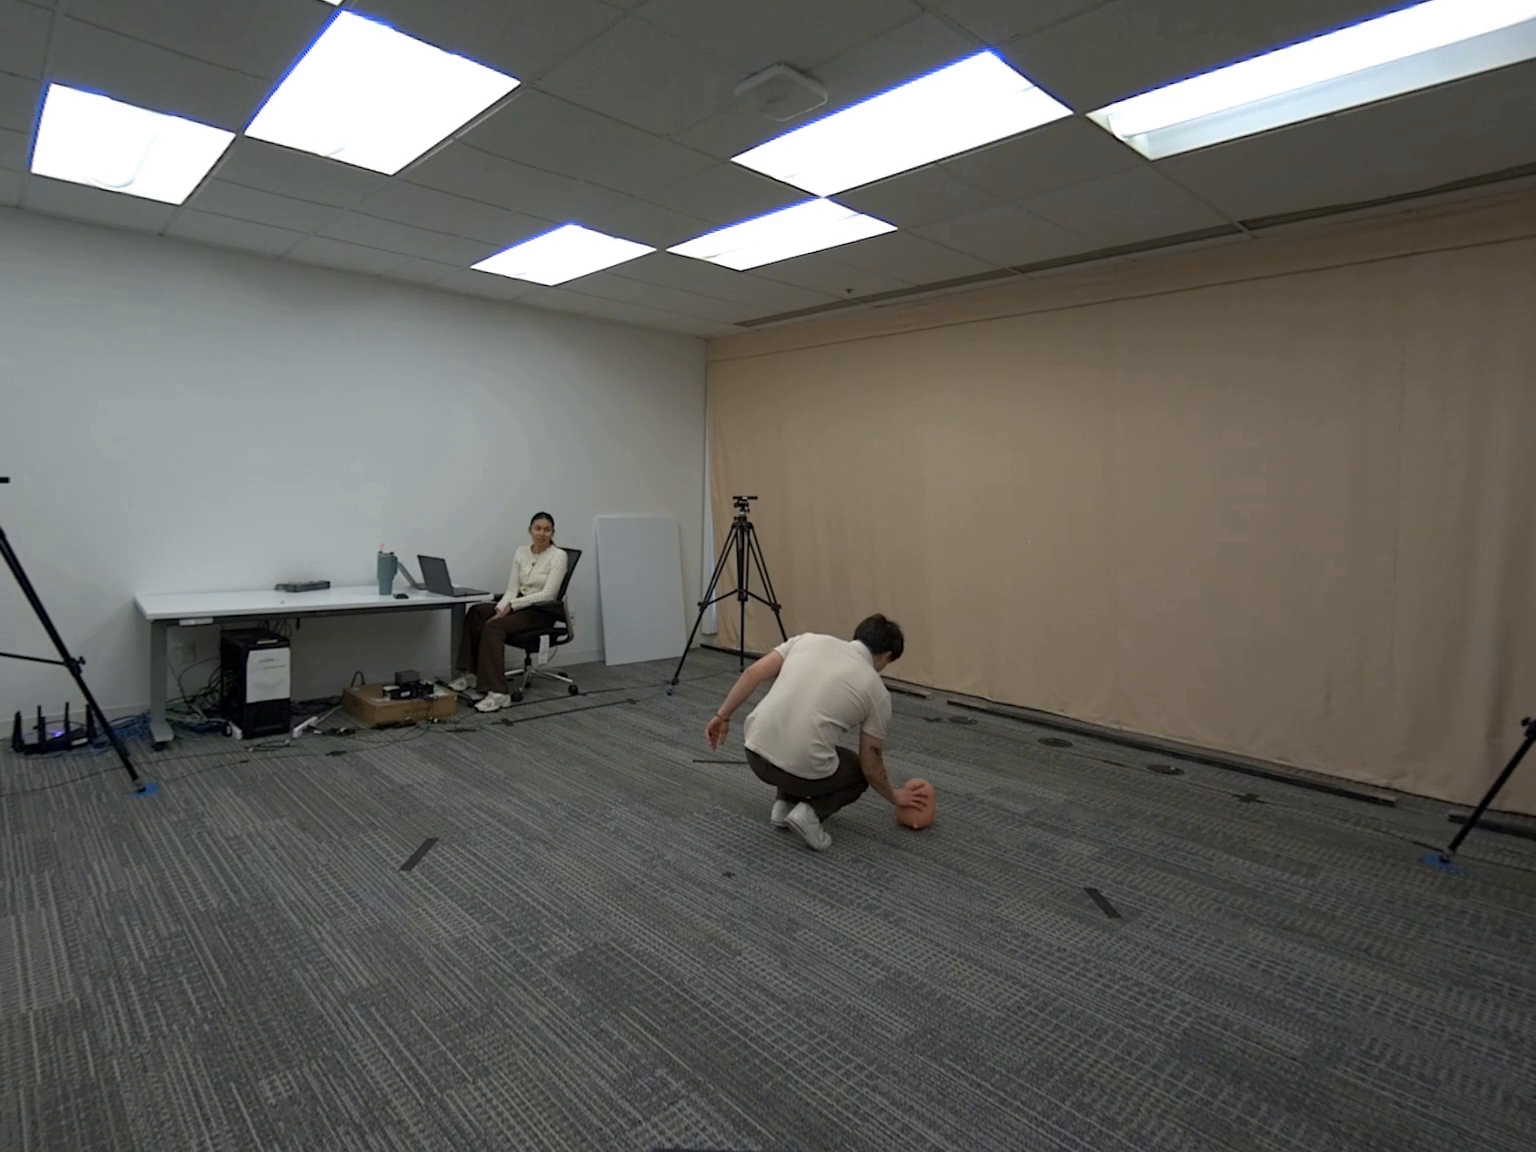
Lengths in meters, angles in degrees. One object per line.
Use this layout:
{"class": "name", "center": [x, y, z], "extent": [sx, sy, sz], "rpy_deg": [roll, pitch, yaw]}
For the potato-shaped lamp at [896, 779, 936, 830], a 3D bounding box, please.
{"class": "potato-shaped lamp", "center": [0.630, 0.980, 3.651], "extent": [0.167, 0.198, 0.169], "rpy_deg": [13, -4, -42]}
